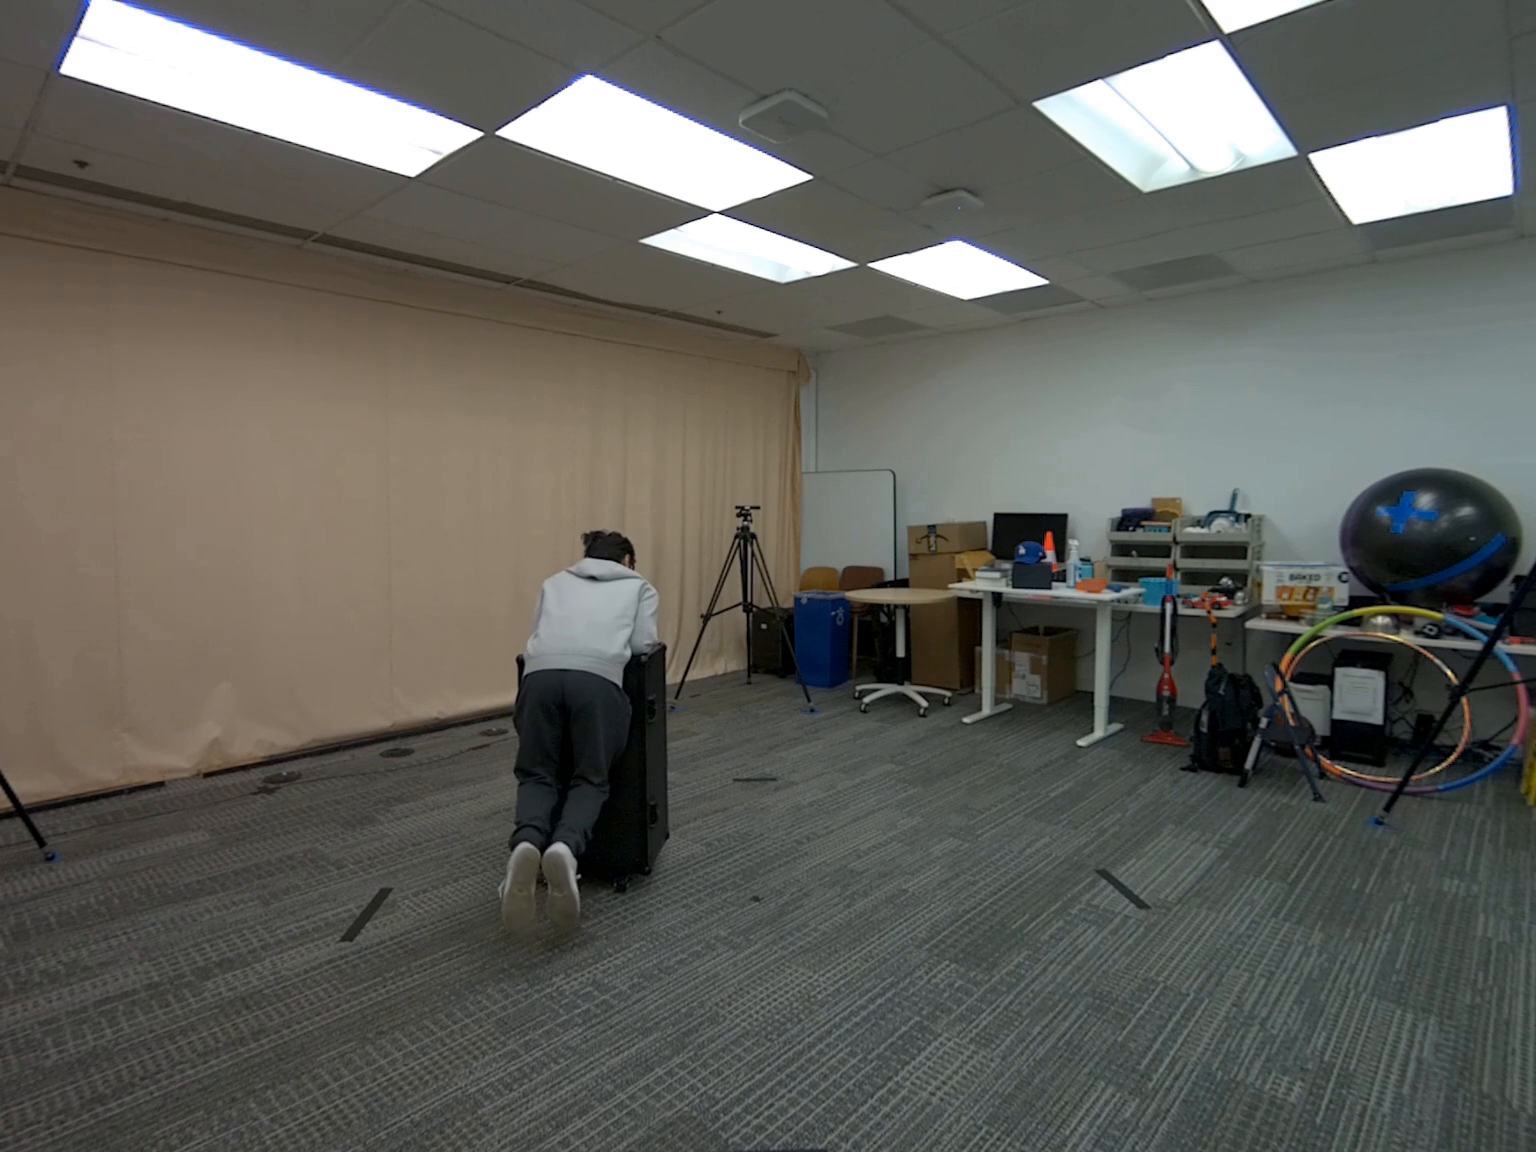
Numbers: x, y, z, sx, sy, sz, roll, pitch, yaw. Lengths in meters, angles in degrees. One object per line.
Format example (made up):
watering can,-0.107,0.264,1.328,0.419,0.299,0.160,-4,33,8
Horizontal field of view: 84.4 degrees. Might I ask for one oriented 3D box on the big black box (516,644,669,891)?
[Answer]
big black box,-0.661,0.713,3.223,0.527,0.860,0.393,1,2,9
